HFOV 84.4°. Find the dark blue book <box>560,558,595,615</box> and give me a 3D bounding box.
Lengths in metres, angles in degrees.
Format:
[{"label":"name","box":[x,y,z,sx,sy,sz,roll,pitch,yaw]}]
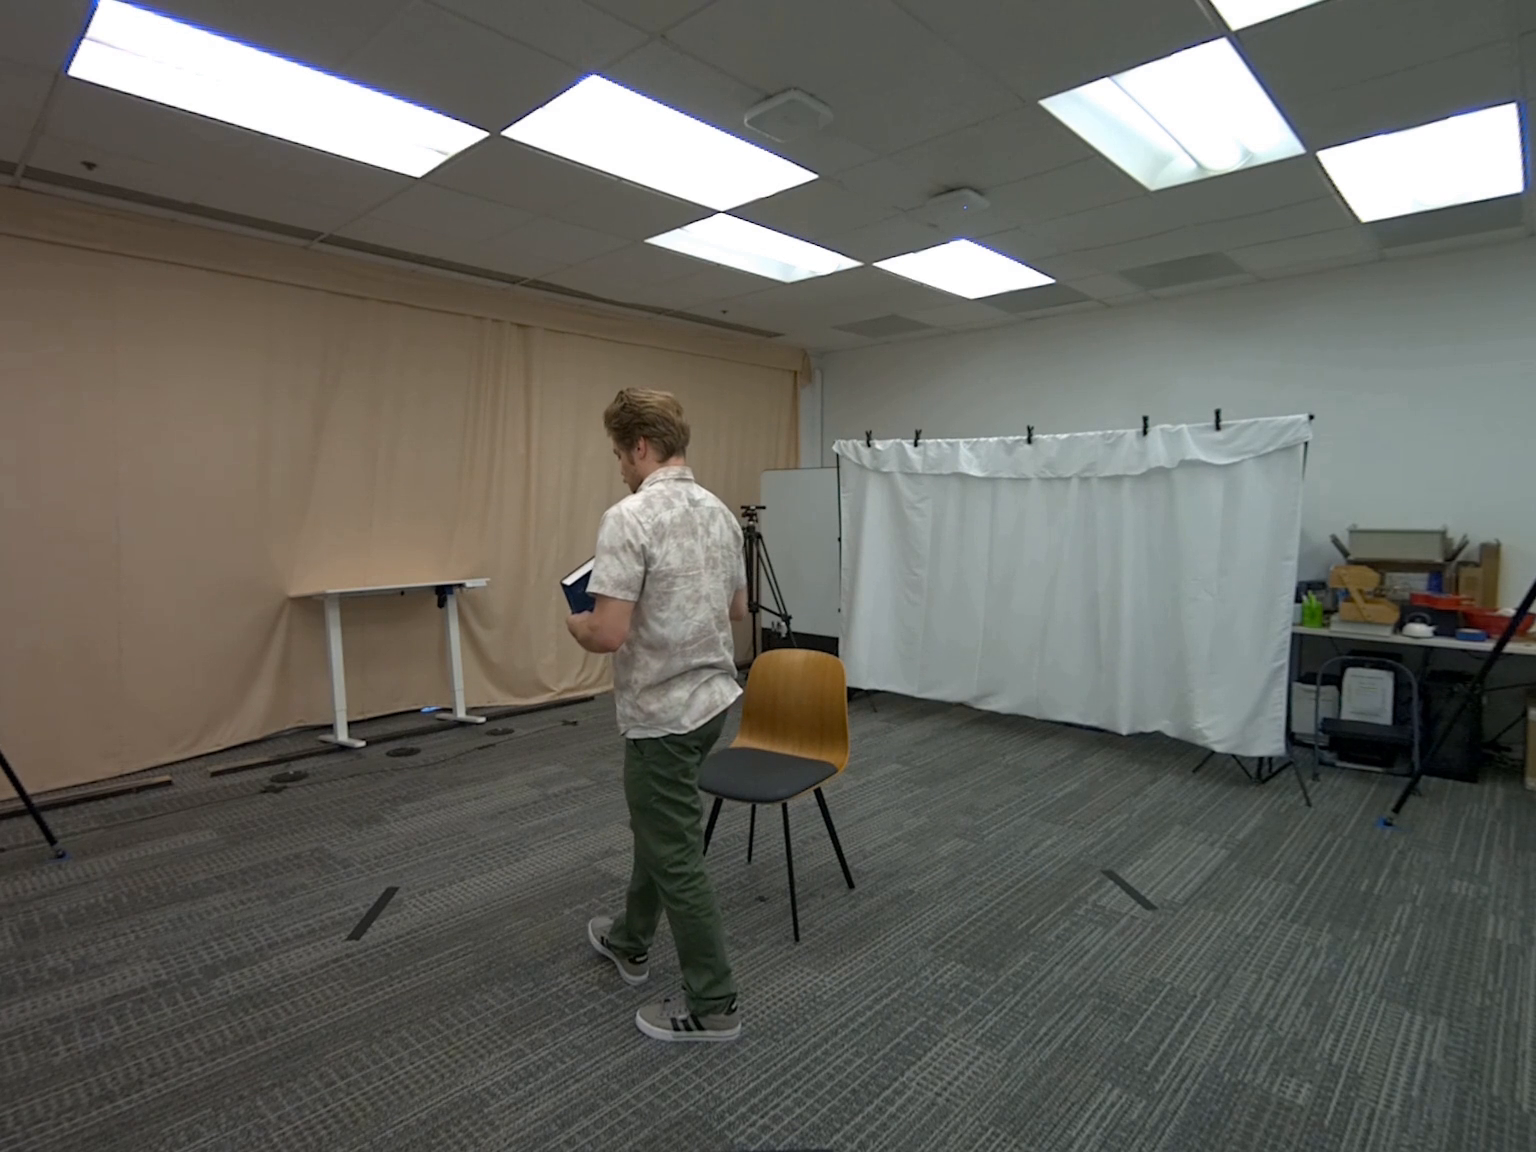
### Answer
[{"label":"dark blue book","box":[-0.478,0.073,2.369,0.047,0.239,0.161,14,43,38]}]
